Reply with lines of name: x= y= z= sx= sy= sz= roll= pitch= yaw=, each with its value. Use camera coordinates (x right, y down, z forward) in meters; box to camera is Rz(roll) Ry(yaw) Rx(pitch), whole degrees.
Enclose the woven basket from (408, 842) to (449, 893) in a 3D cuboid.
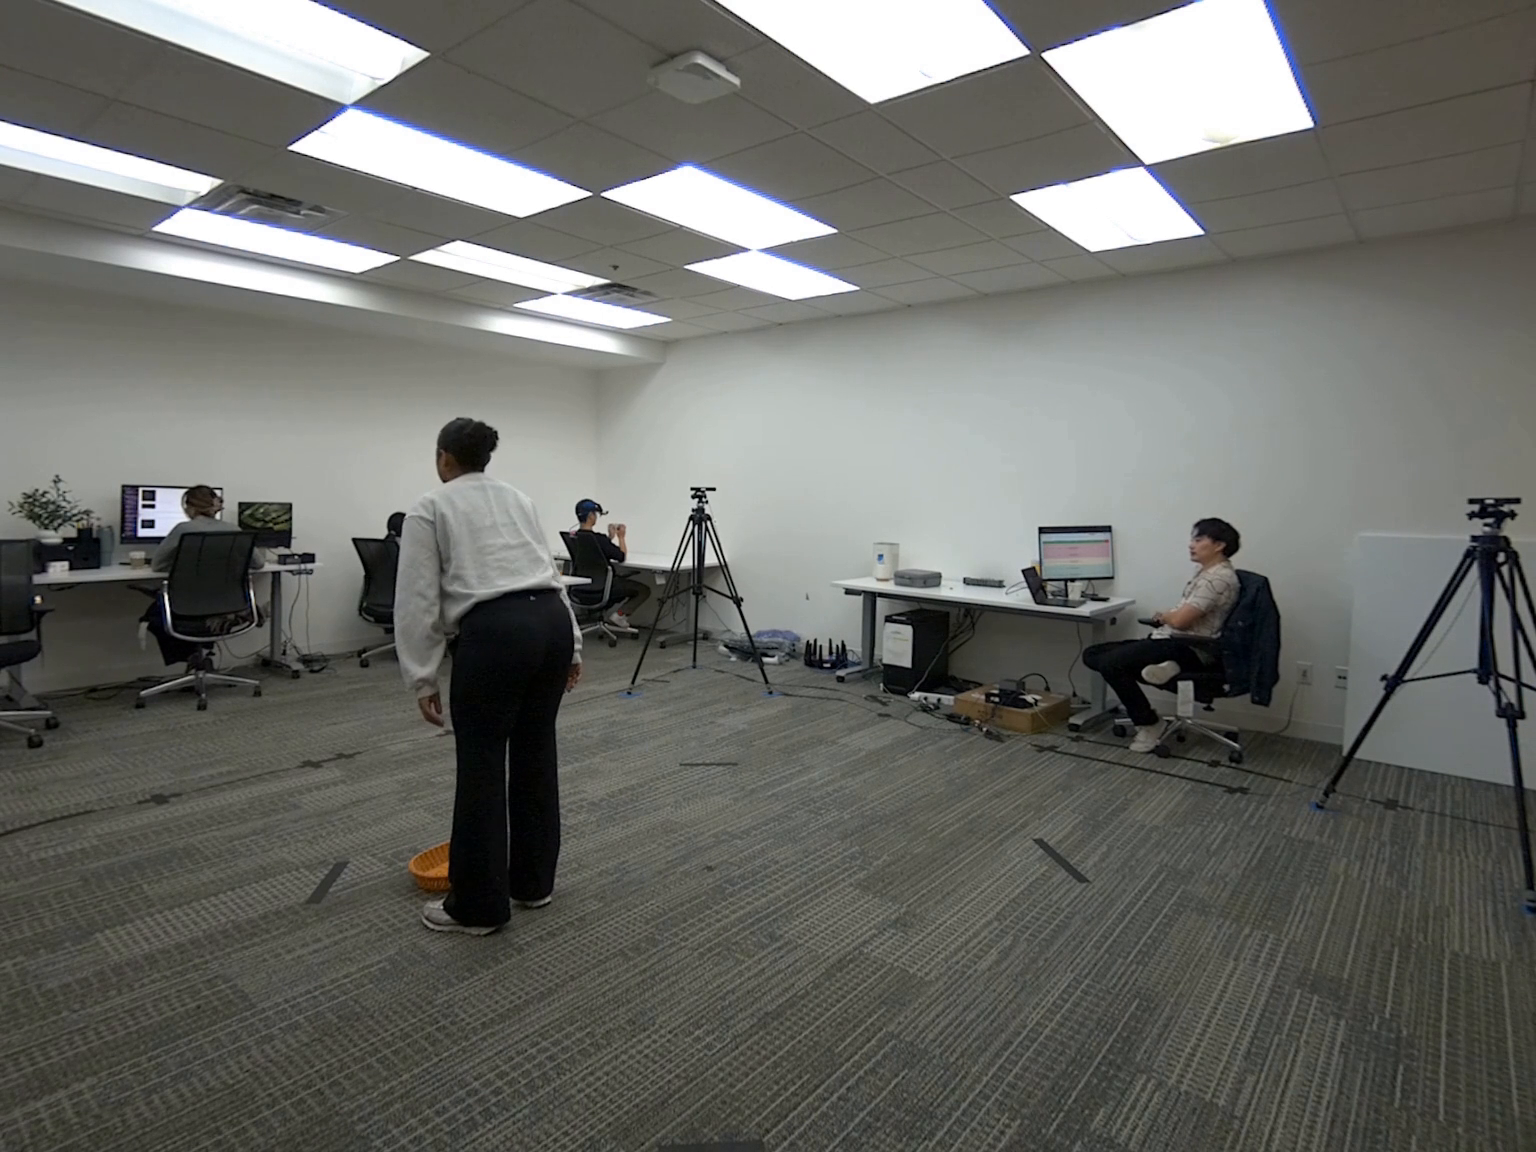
woven basket: x=-1.115 y=1.020 z=3.021 sx=0.260 sy=0.073 sz=0.341 roll=5 pitch=7 yaw=32
